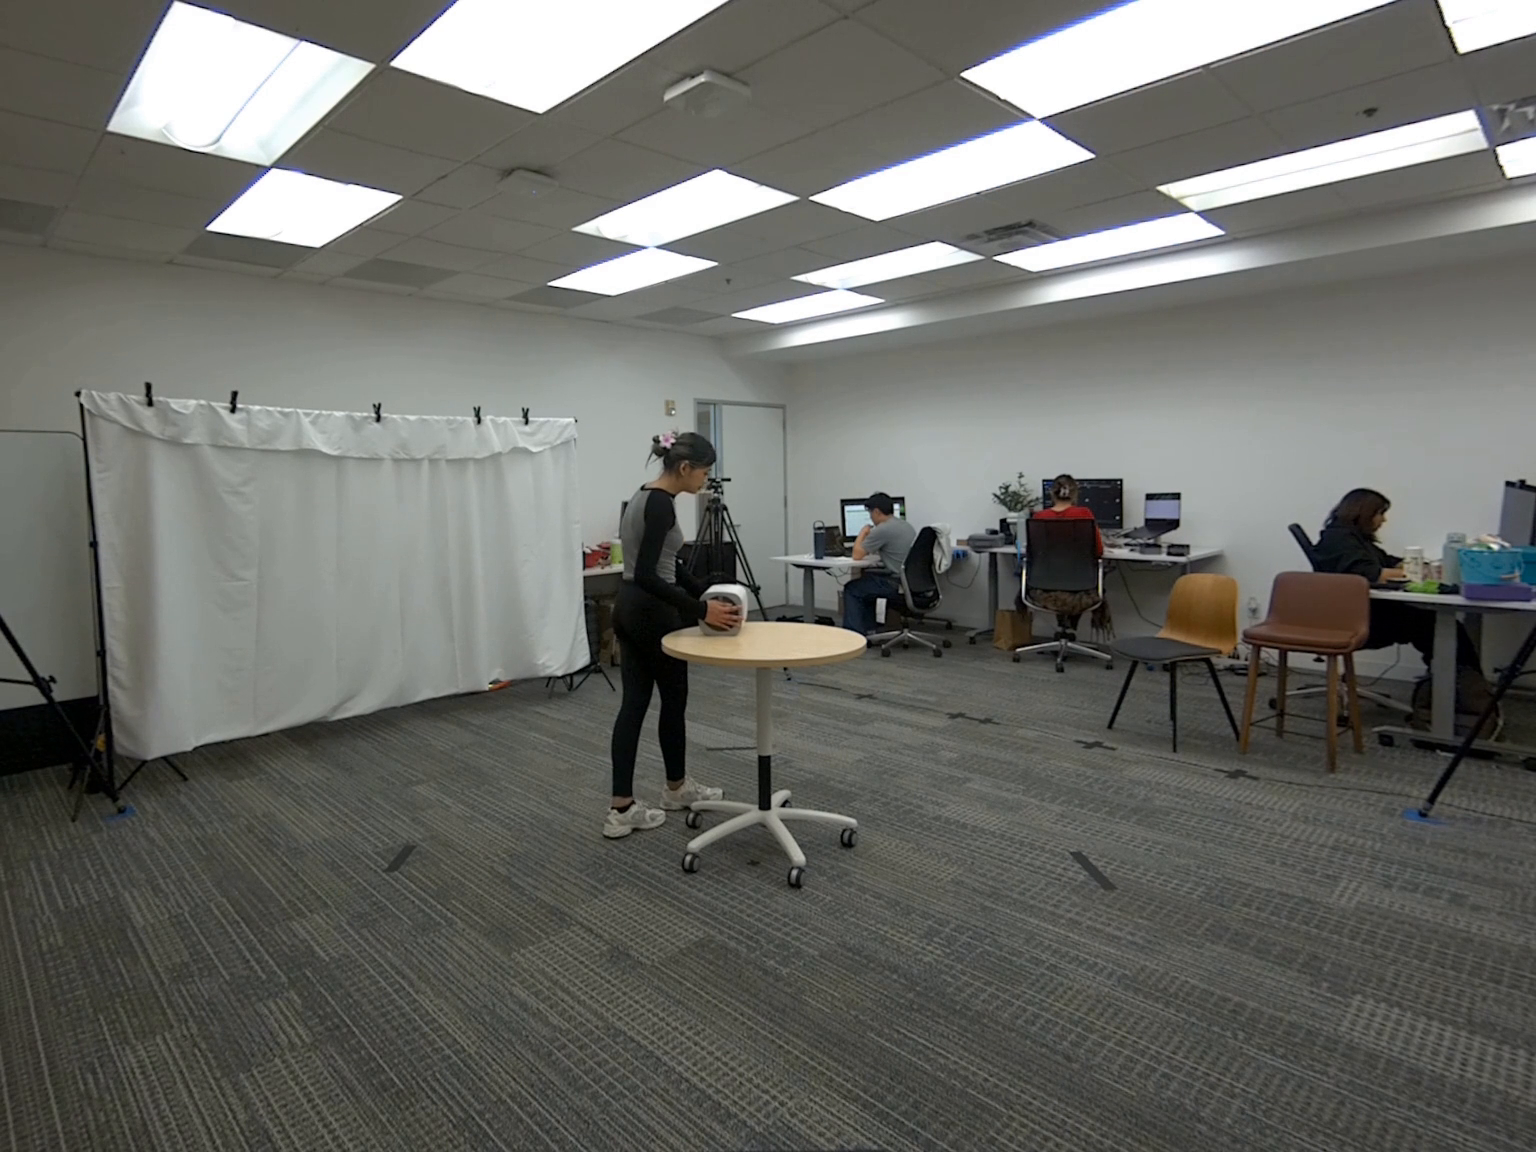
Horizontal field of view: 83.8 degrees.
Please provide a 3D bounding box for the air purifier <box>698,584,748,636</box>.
[{"bbox_3d":[-0.175,0.129,3.402,0.172,0.171,0.265,-3,5,4],"label":"air purifier"}]
